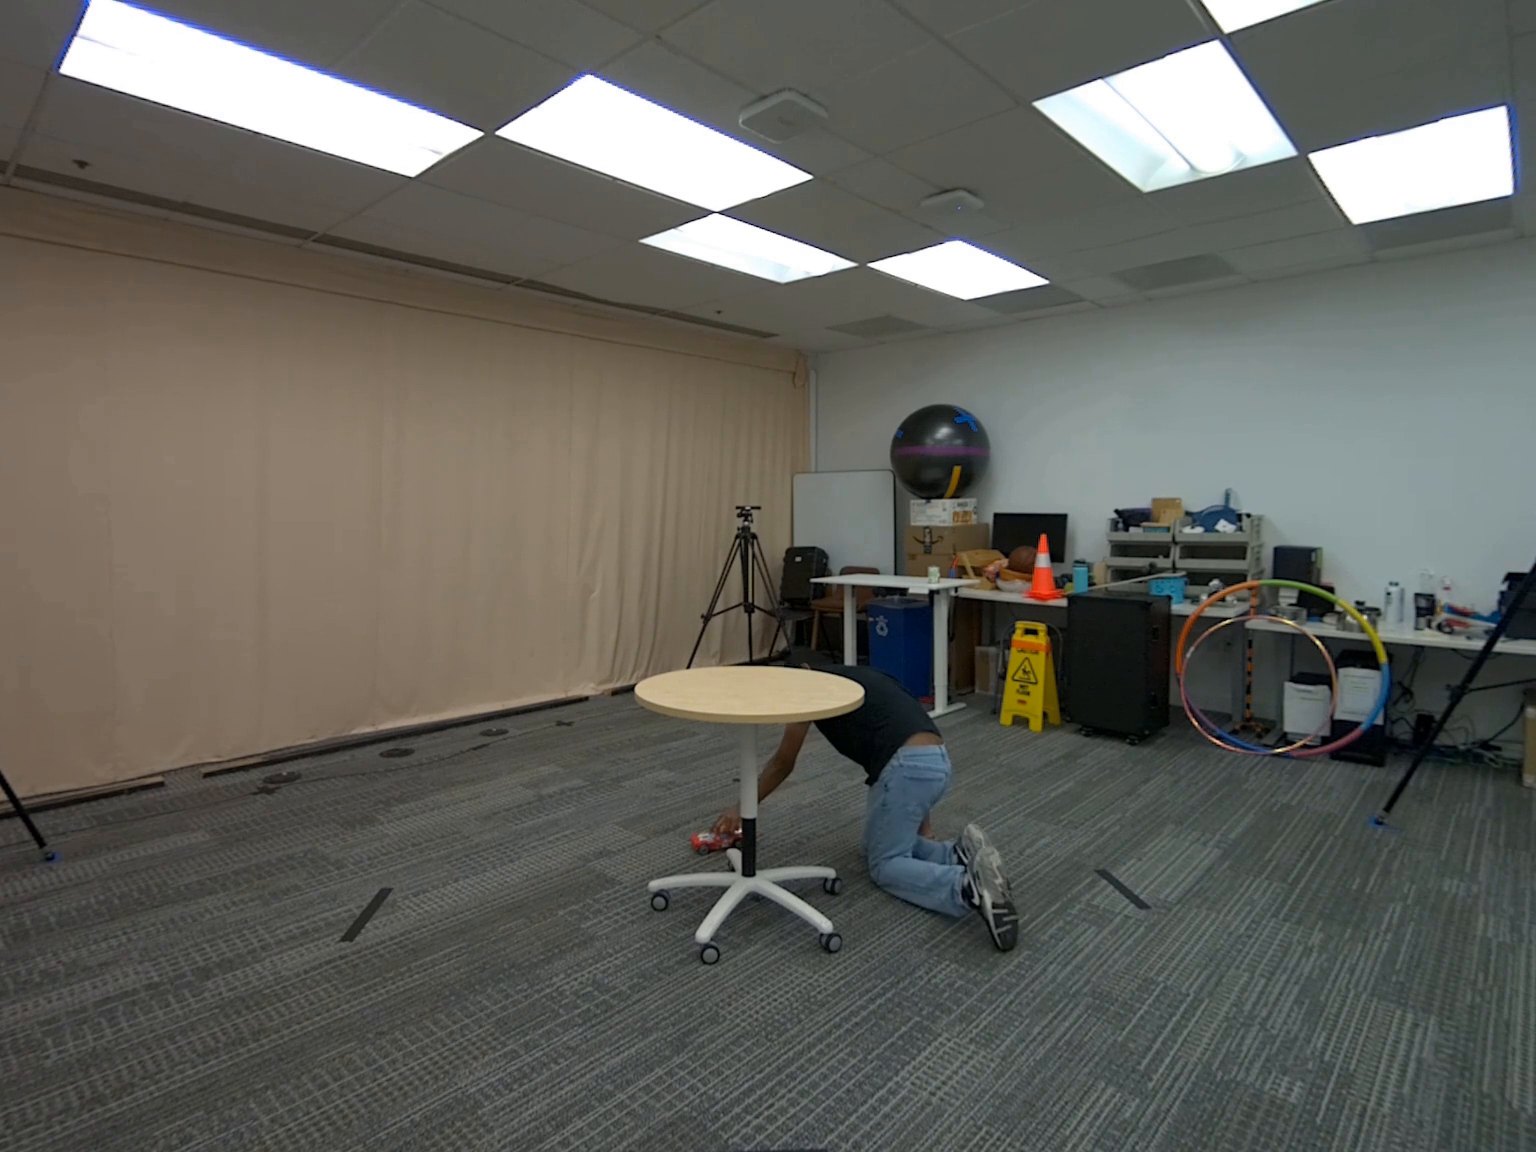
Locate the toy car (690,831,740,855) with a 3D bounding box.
[{"bbox_3d":[-0.185,1.077,3.457,0.251,0.083,0.133,-12,7,-16],"label":"toy car"}]
